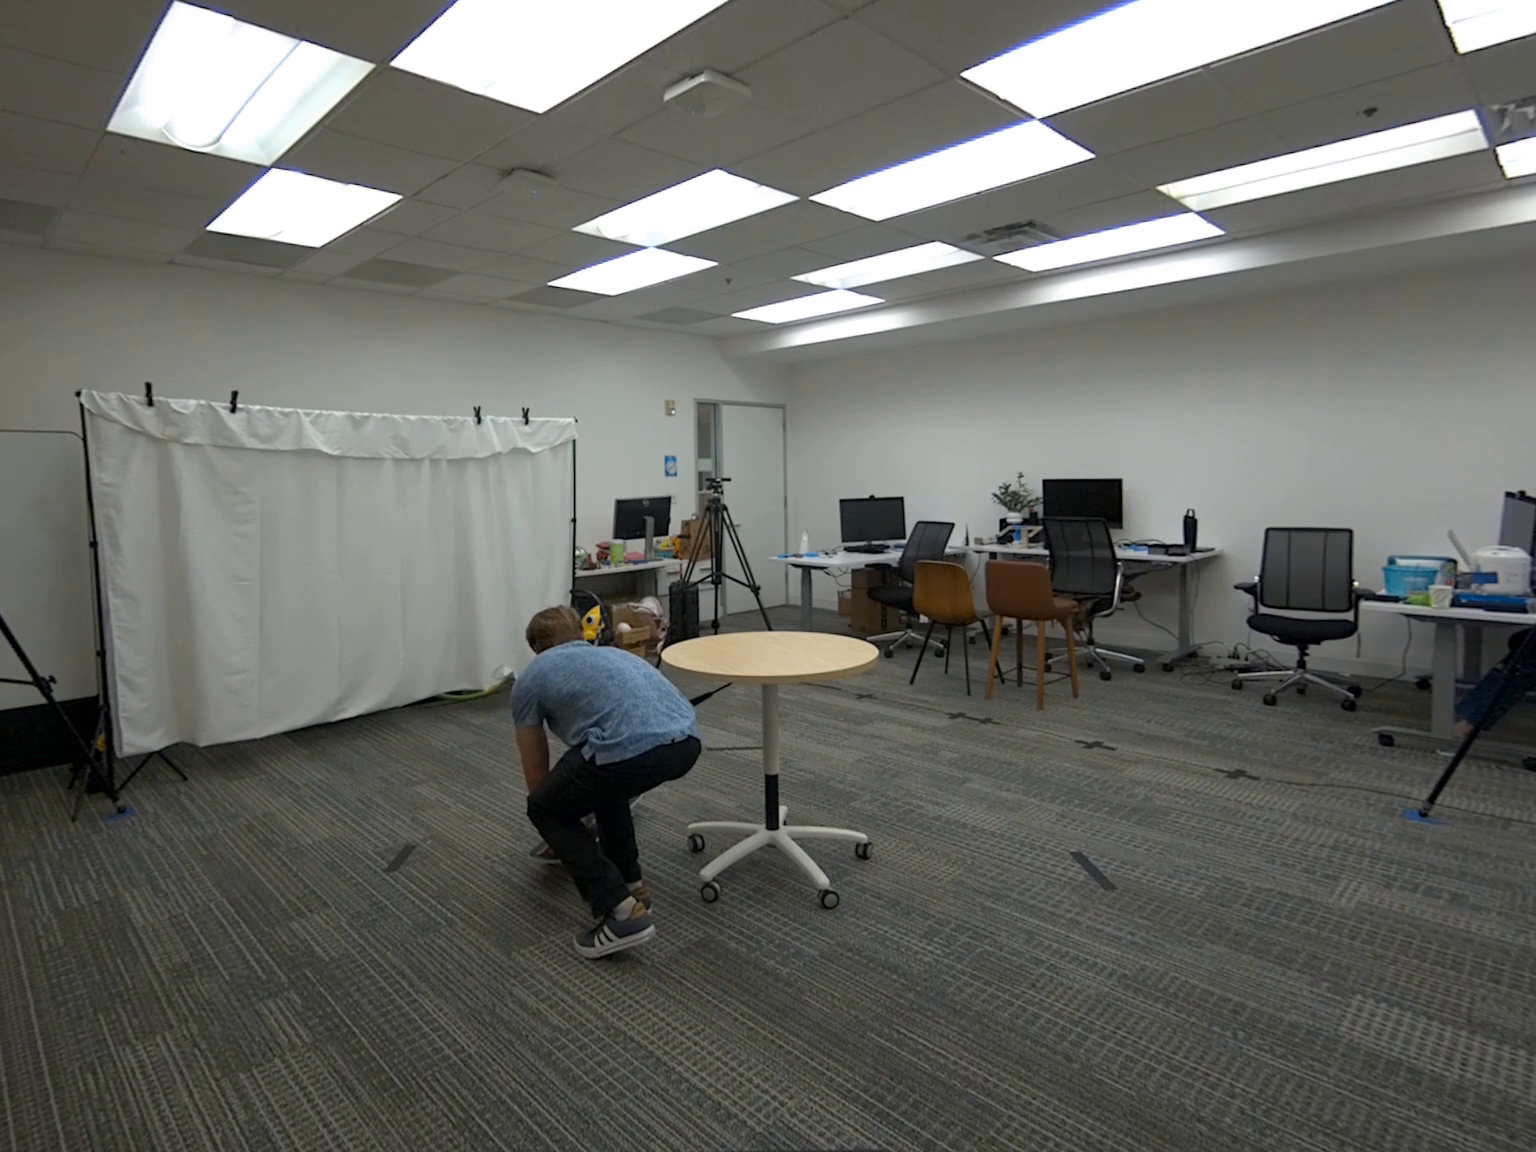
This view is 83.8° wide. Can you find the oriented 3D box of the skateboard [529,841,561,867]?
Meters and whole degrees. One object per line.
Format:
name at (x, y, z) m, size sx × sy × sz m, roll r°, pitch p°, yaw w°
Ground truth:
skateboard at (-0.678, 0.976, 3.303) m, size 0.196 × 0.110 × 0.778 m, roll 0°, pitch 7°, yaw 13°
